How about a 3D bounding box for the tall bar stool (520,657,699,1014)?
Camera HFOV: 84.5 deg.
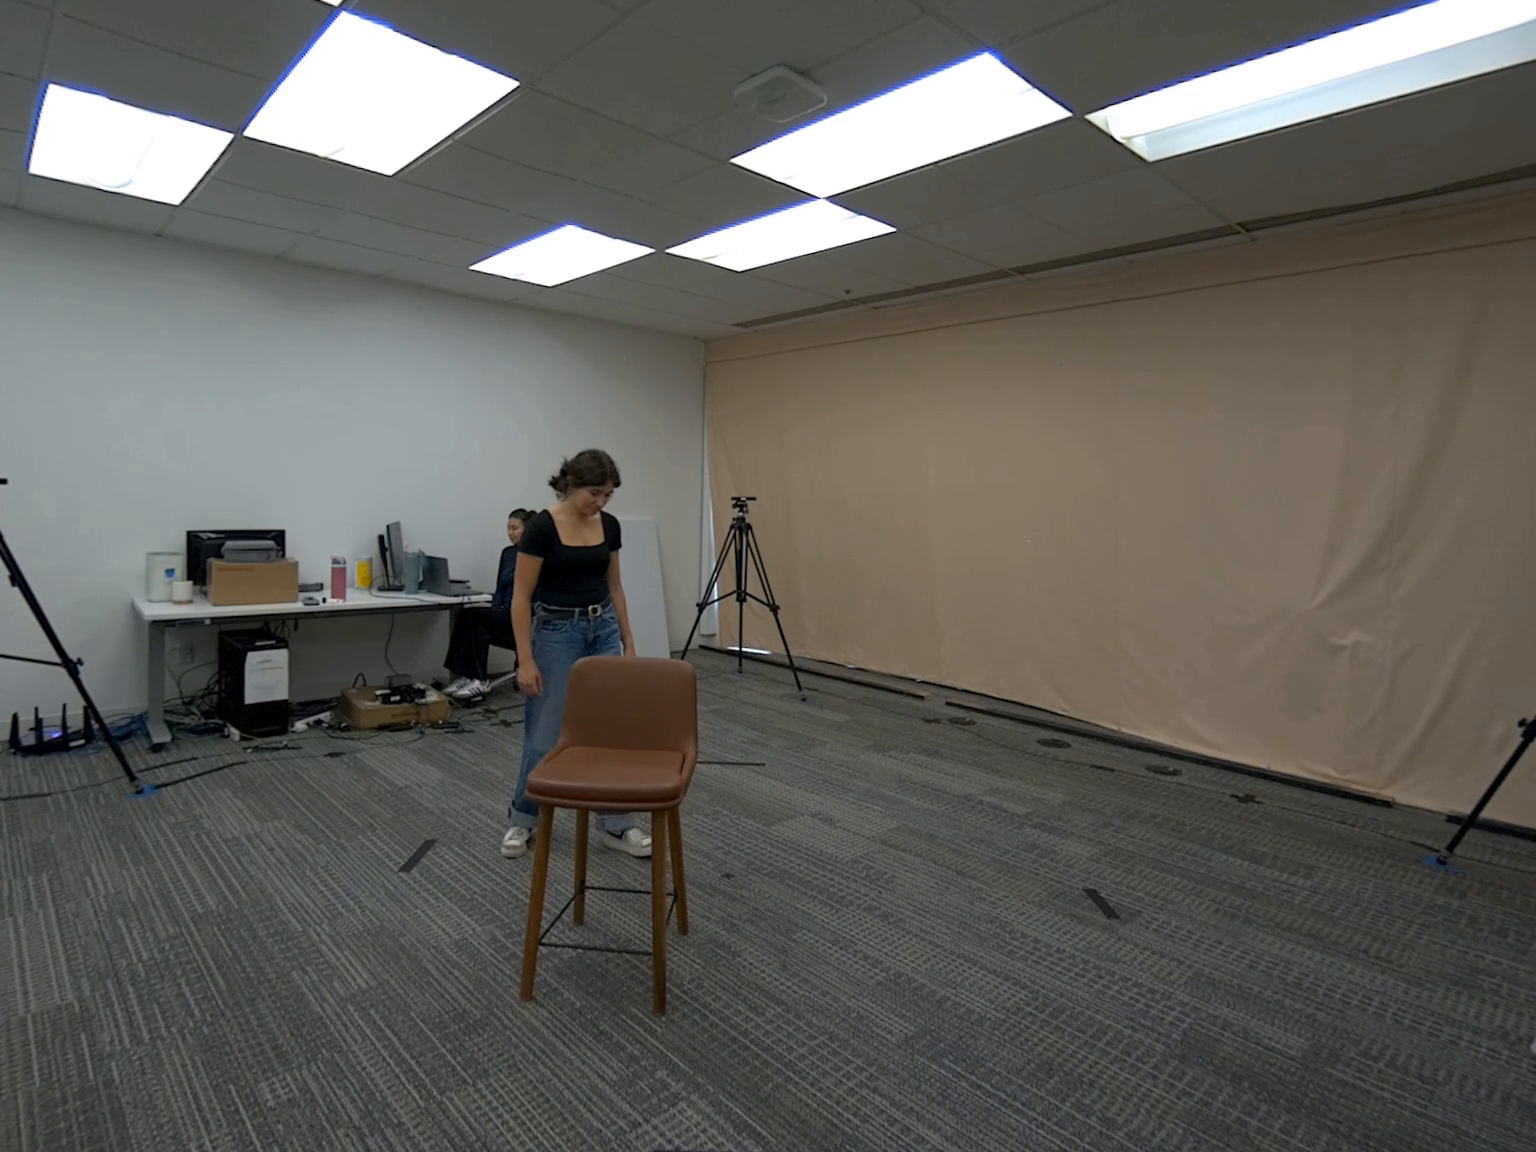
[{"bbox_3d":[-0.459,0.725,2.483,0.460,0.888,0.465,1,2,8],"label":"tall bar stool"}]
